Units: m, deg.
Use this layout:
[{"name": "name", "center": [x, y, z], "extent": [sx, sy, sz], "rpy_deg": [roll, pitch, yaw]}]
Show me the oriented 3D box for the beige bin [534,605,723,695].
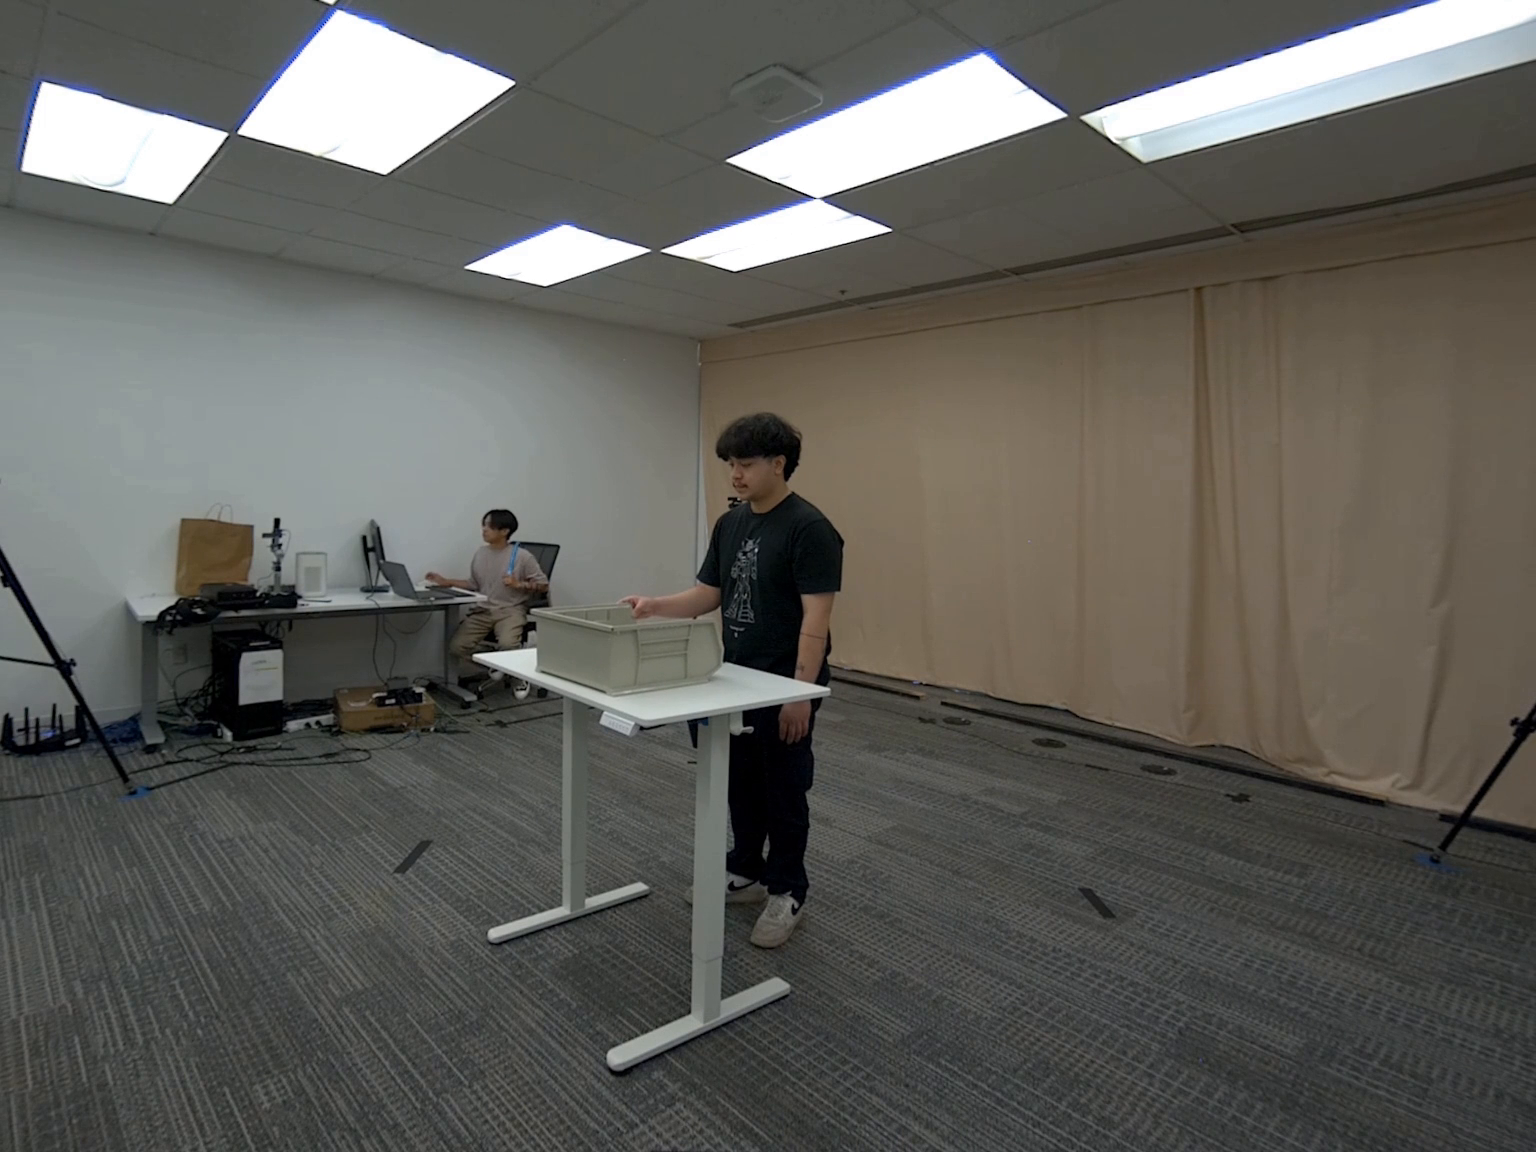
[{"name": "beige bin", "center": [-0.411, 0.200, 2.375], "extent": [0.369, 0.188, 0.433], "rpy_deg": [-3, 6, -42]}]
